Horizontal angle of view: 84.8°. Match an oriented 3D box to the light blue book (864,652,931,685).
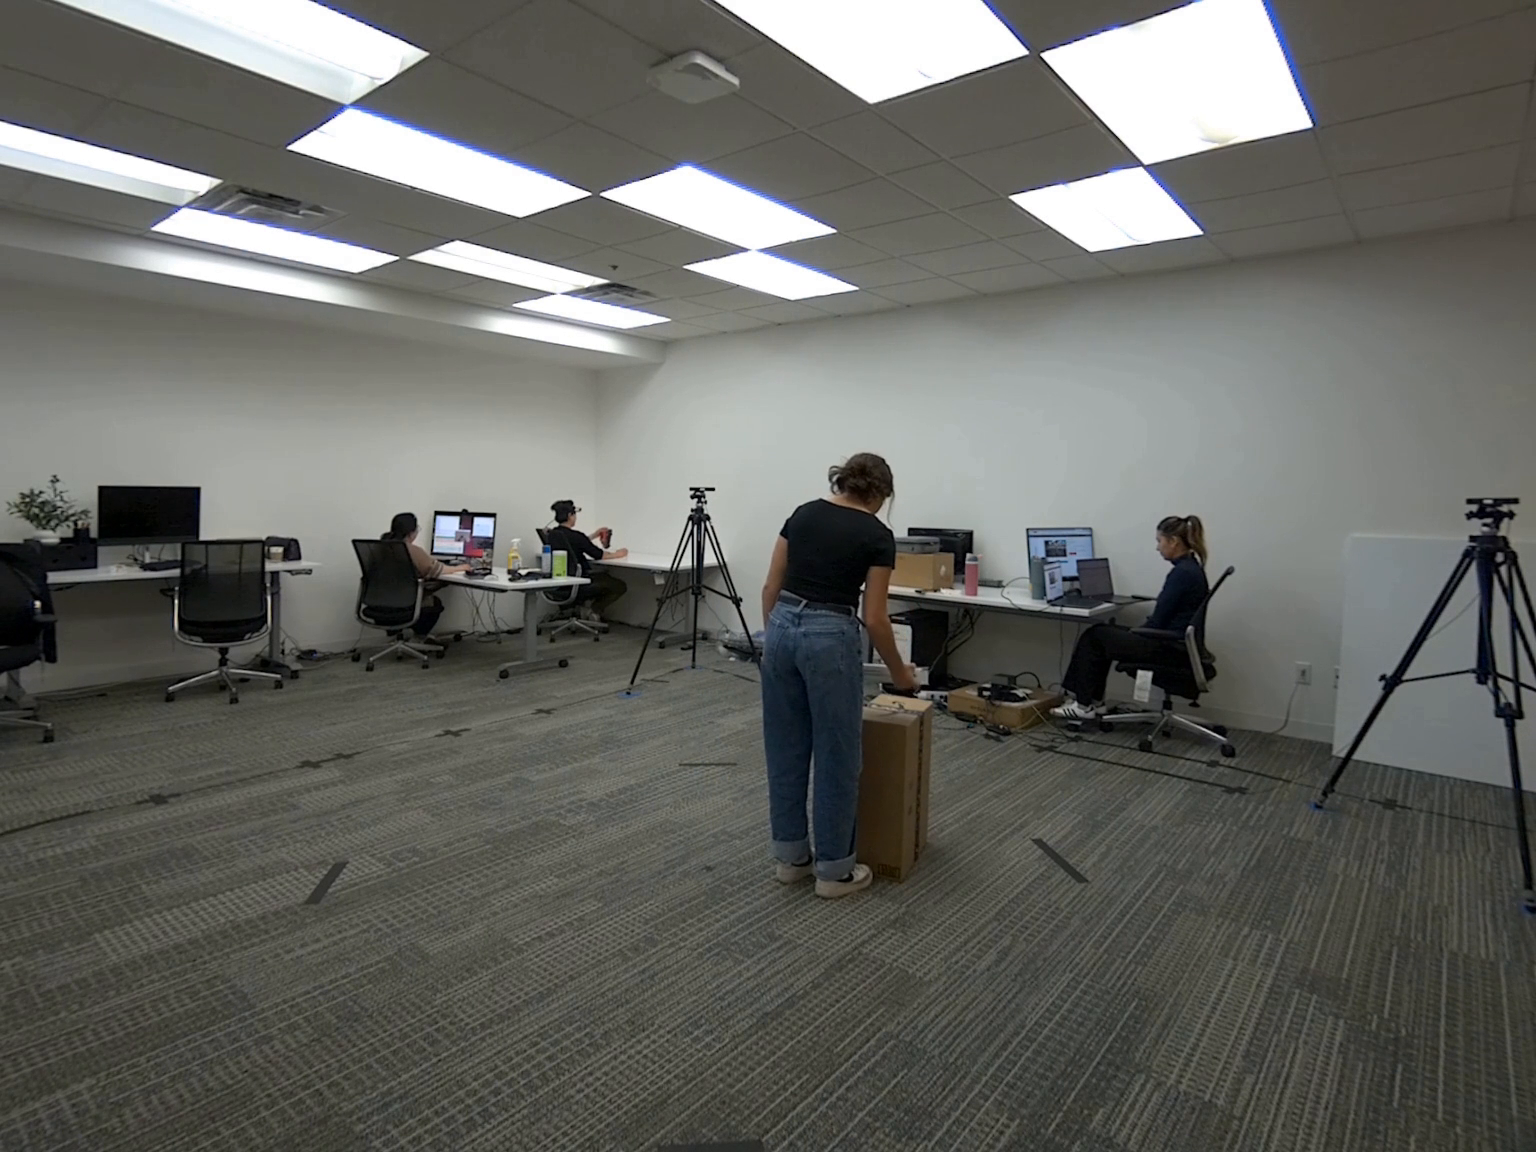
[{"bbox_3d":[0.437,0.355,3.139,0.267,0.059,0.186,2,-5,22],"label":"light blue book"}]
